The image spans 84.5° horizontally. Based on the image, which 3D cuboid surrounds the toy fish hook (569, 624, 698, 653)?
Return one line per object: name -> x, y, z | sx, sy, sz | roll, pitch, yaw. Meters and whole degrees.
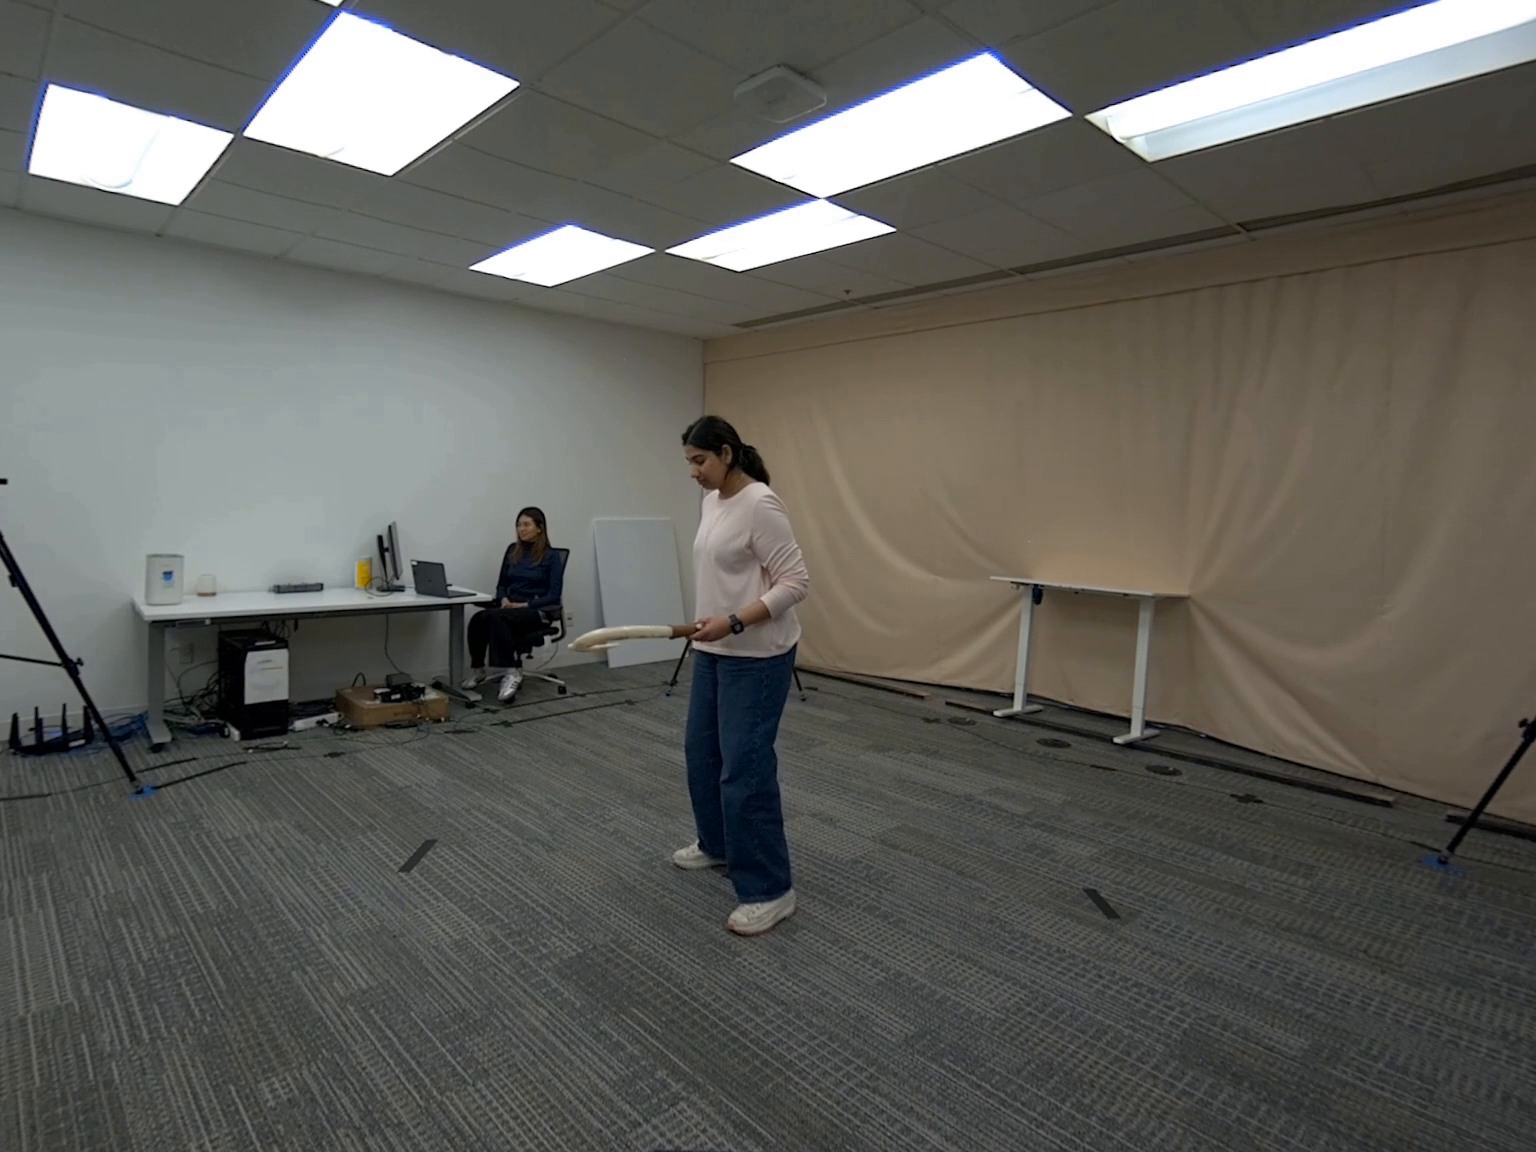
toy fish hook -> -0.375, 0.190, 2.630 | 0.495, 0.049, 0.227 | 0, -12, -34
